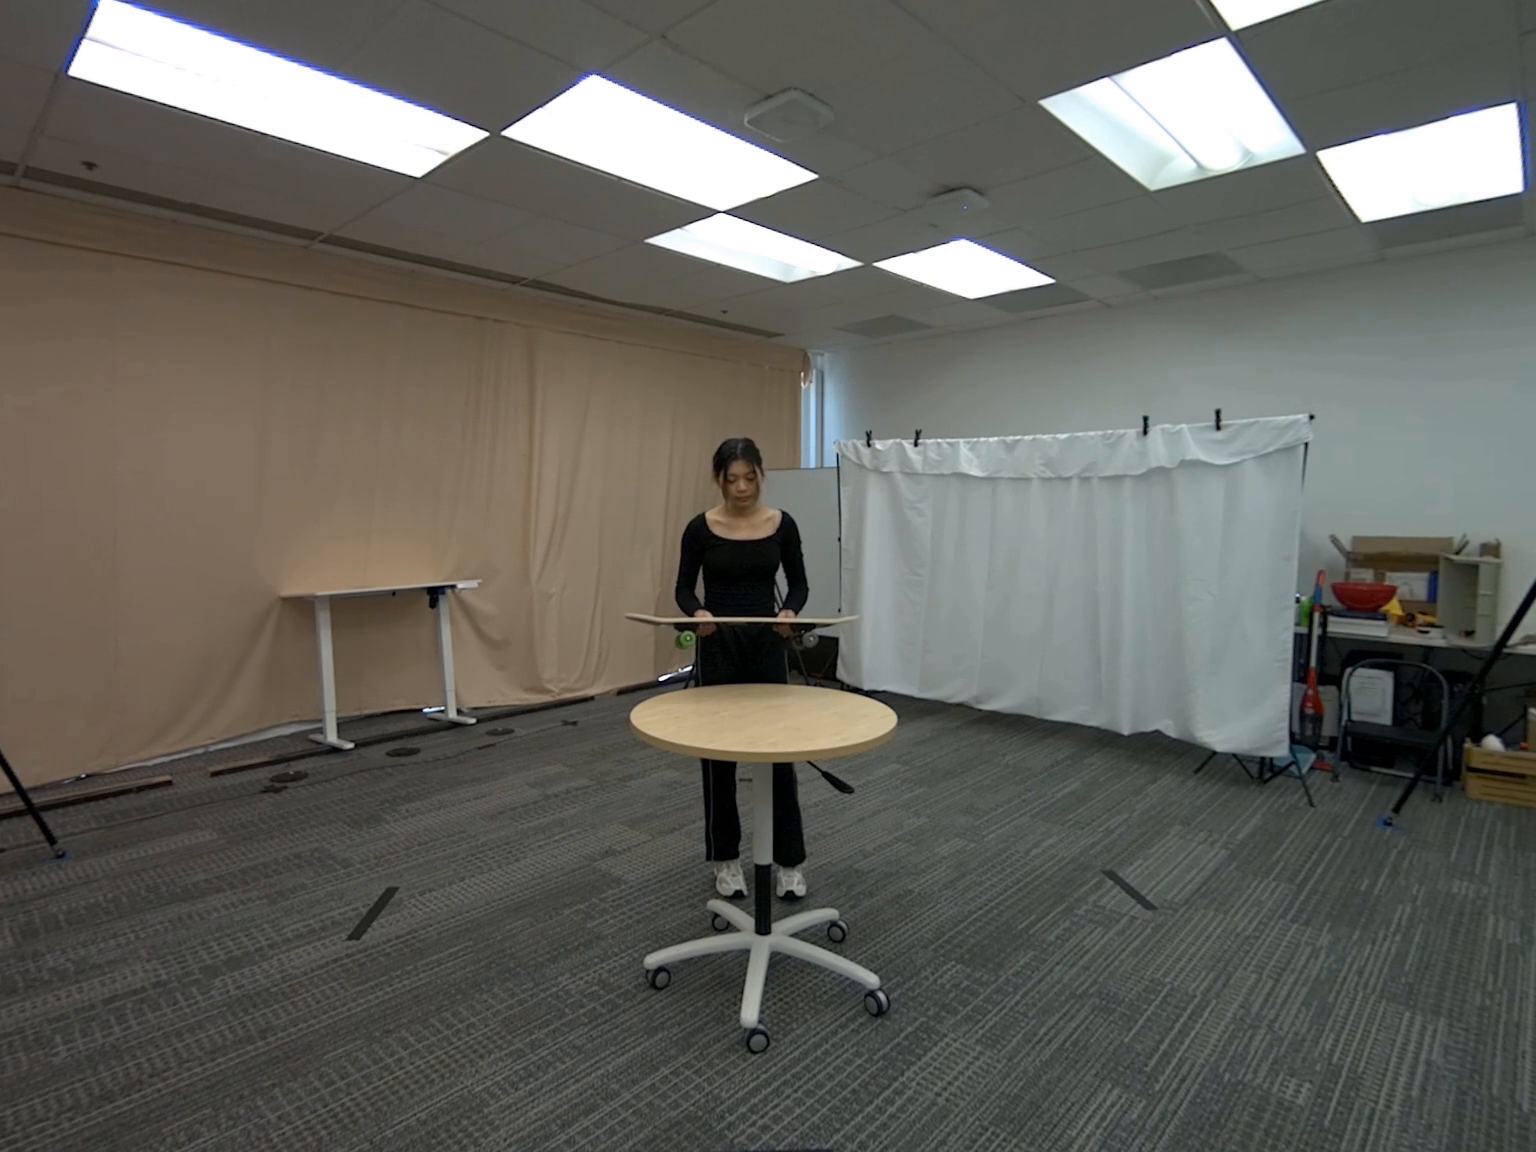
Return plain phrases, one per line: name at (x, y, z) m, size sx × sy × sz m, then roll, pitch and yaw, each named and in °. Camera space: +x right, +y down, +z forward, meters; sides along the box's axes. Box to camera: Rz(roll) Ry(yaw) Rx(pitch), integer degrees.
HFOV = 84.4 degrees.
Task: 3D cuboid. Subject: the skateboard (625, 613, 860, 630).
skateboard at (-0.082, 0.187, 2.769) m, size 0.779 × 0.111 × 0.194 m, roll 1°, pitch -9°, yaw -8°
